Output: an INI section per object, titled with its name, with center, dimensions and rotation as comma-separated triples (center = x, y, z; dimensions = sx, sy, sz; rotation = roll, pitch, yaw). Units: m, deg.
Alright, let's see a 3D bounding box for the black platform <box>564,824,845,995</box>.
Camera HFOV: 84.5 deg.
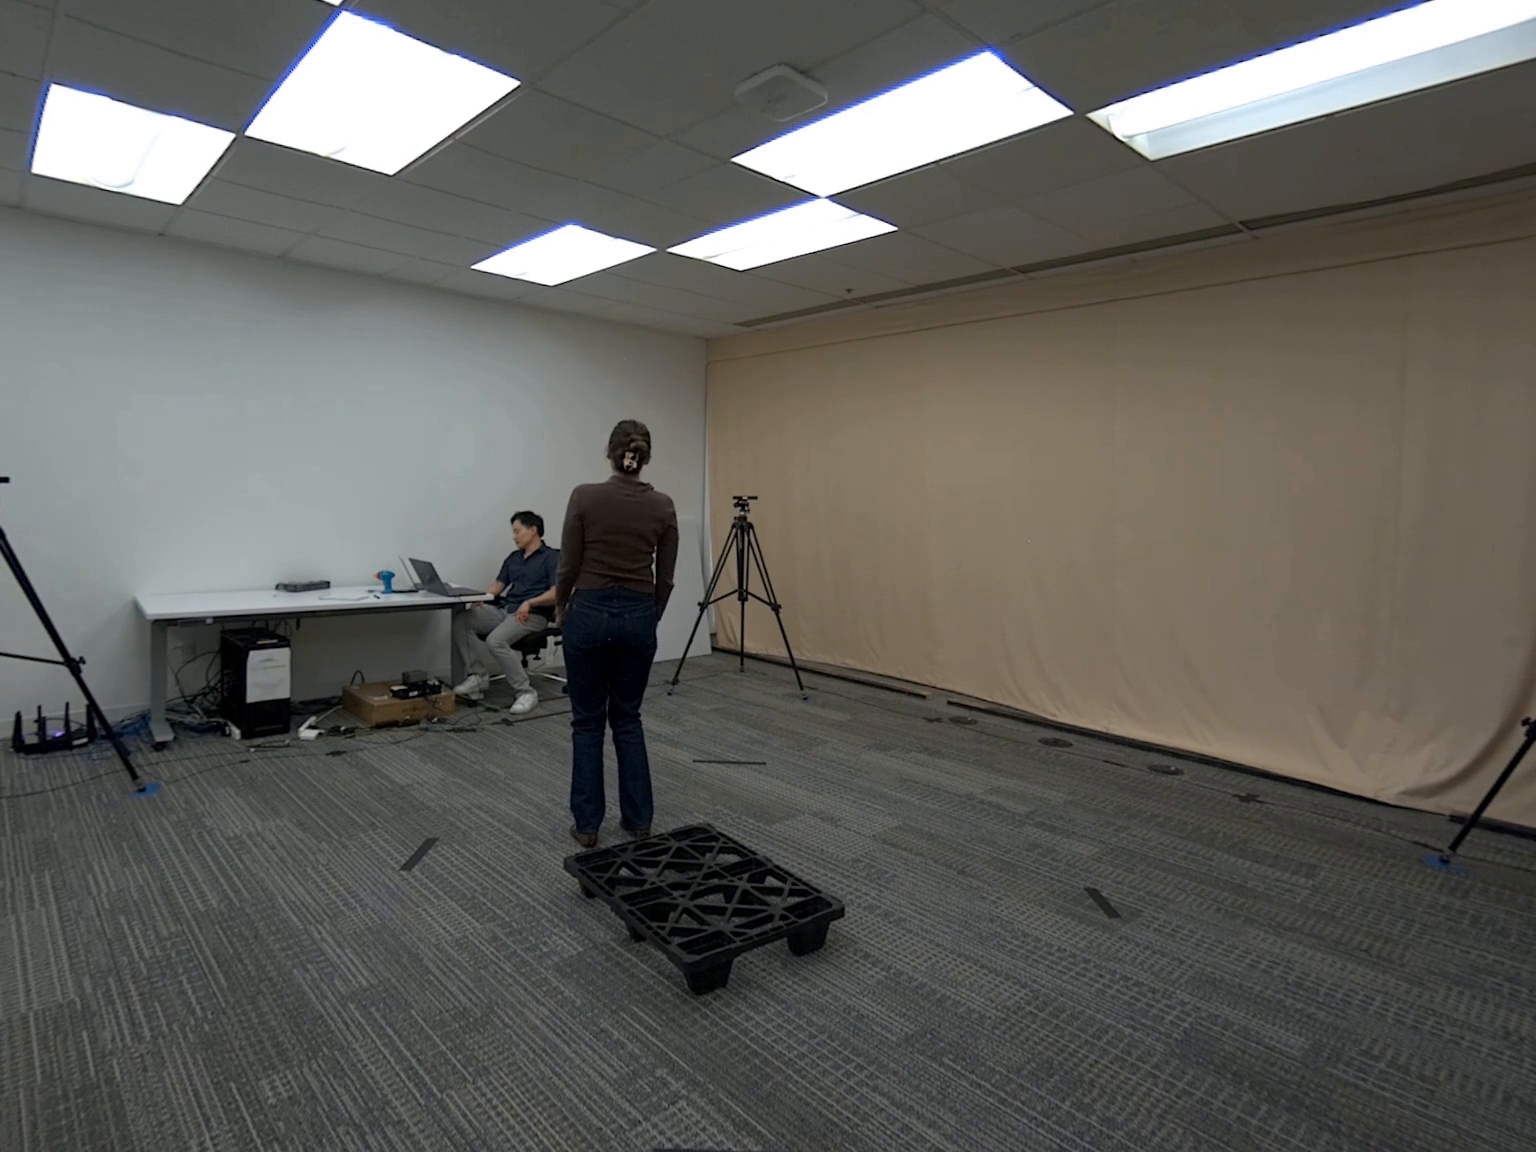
[black platform]
center = -0.239, 1.067, 2.772
dimensions = 0.592, 0.143, 0.826
rotation = -2, 6, -37
